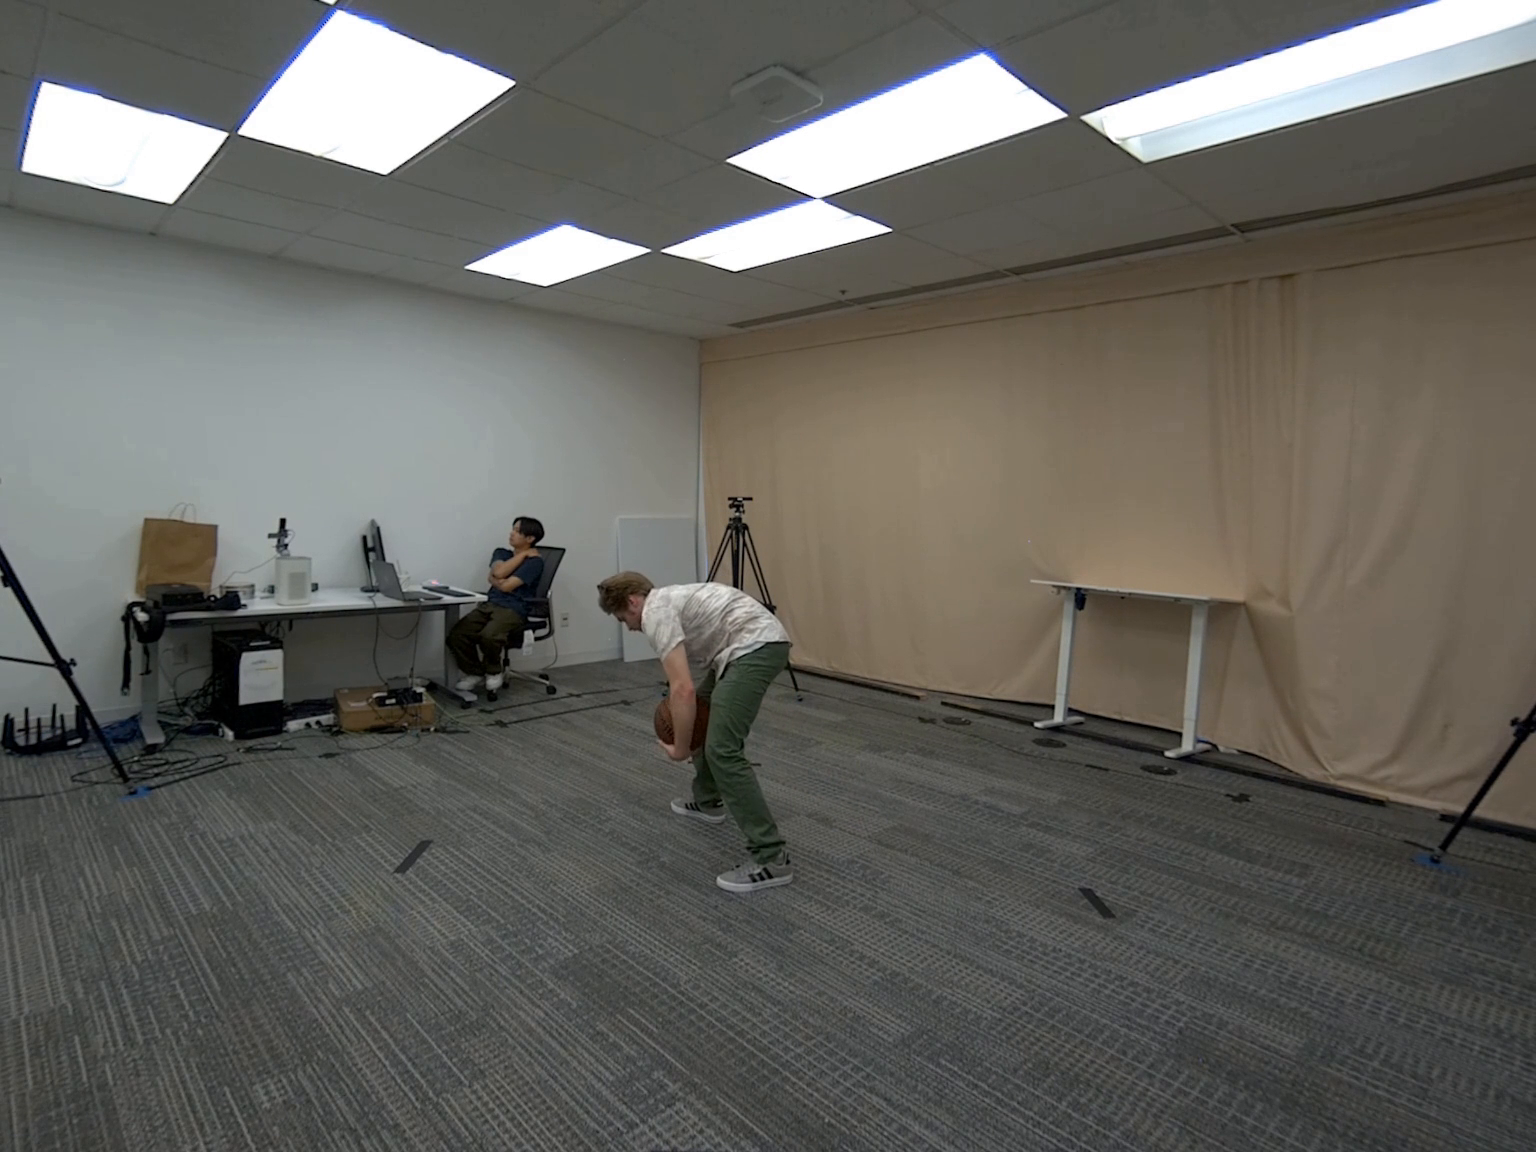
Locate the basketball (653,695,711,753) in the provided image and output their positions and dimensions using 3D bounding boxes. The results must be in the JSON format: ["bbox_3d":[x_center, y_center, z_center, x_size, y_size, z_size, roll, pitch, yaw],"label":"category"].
[{"bbox_3d":[-0.347,0.582,3.381,0.236,0.235,0.237,1,4,-1],"label":"basketball"}]
